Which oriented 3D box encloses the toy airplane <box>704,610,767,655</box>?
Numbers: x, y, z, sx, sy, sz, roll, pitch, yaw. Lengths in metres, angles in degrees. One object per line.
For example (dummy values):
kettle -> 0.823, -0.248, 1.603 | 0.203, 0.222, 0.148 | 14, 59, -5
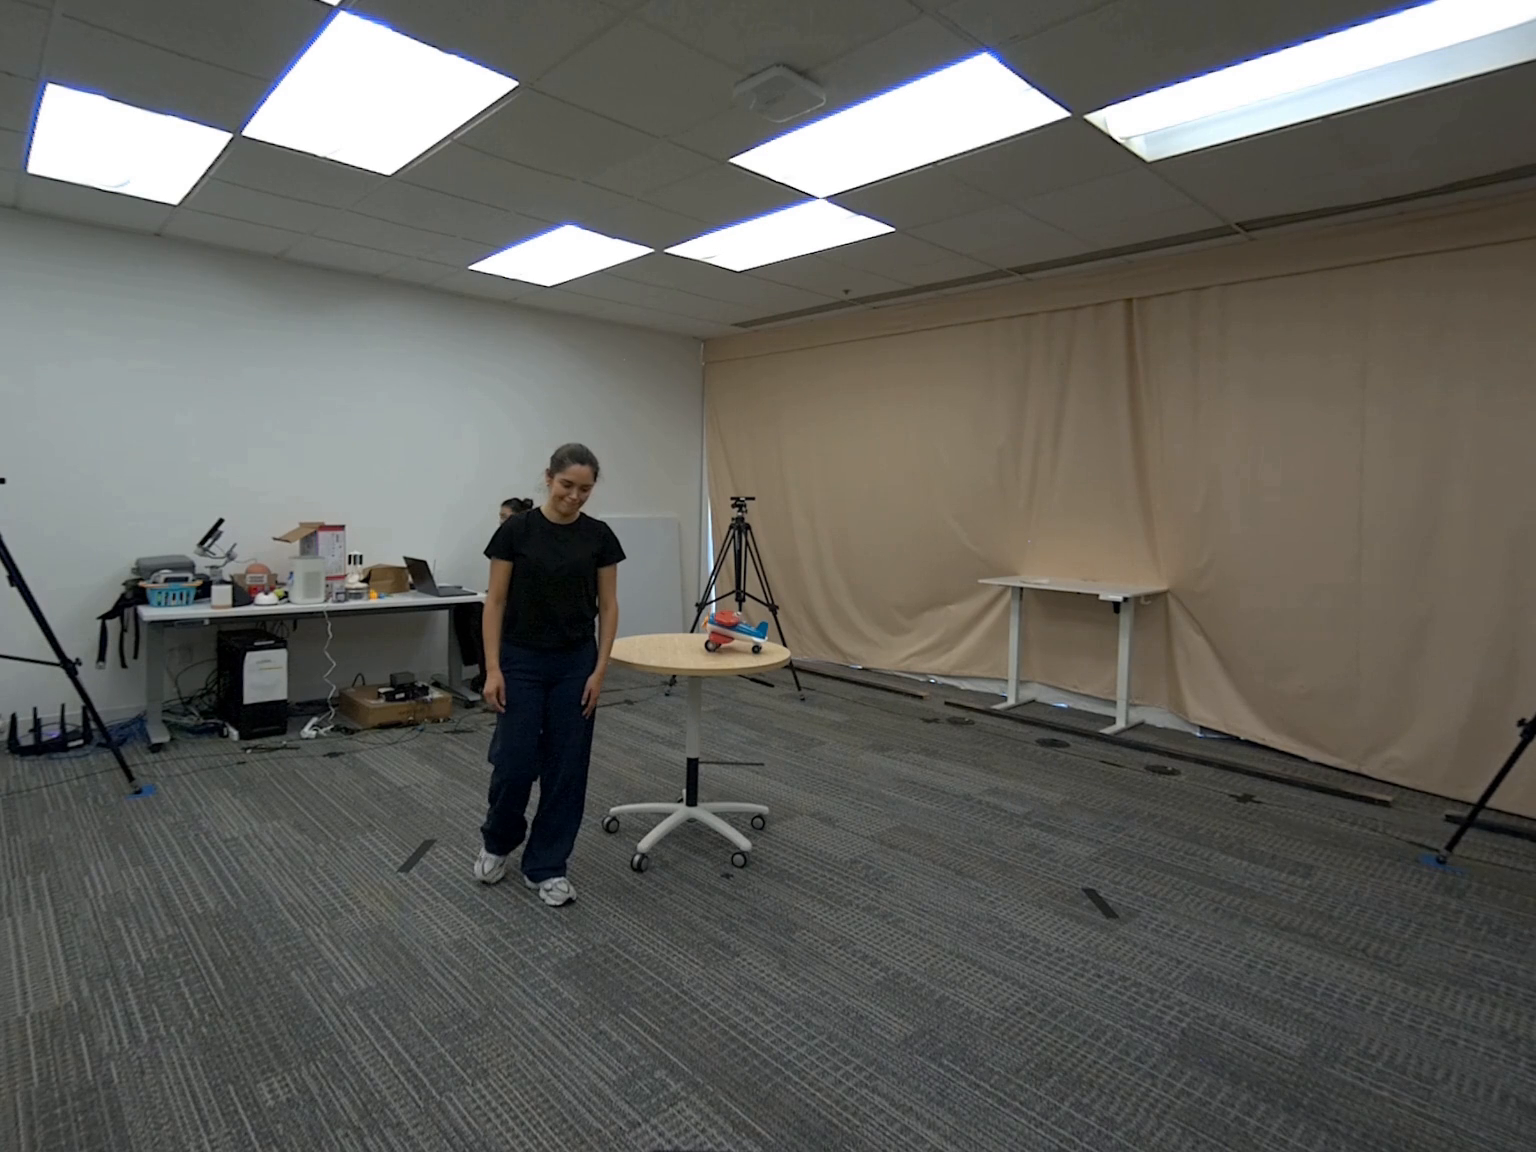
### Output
toy airplane -> -0.139, 0.225, 3.378 | 0.255, 0.156, 0.256 | 0, 6, -21
